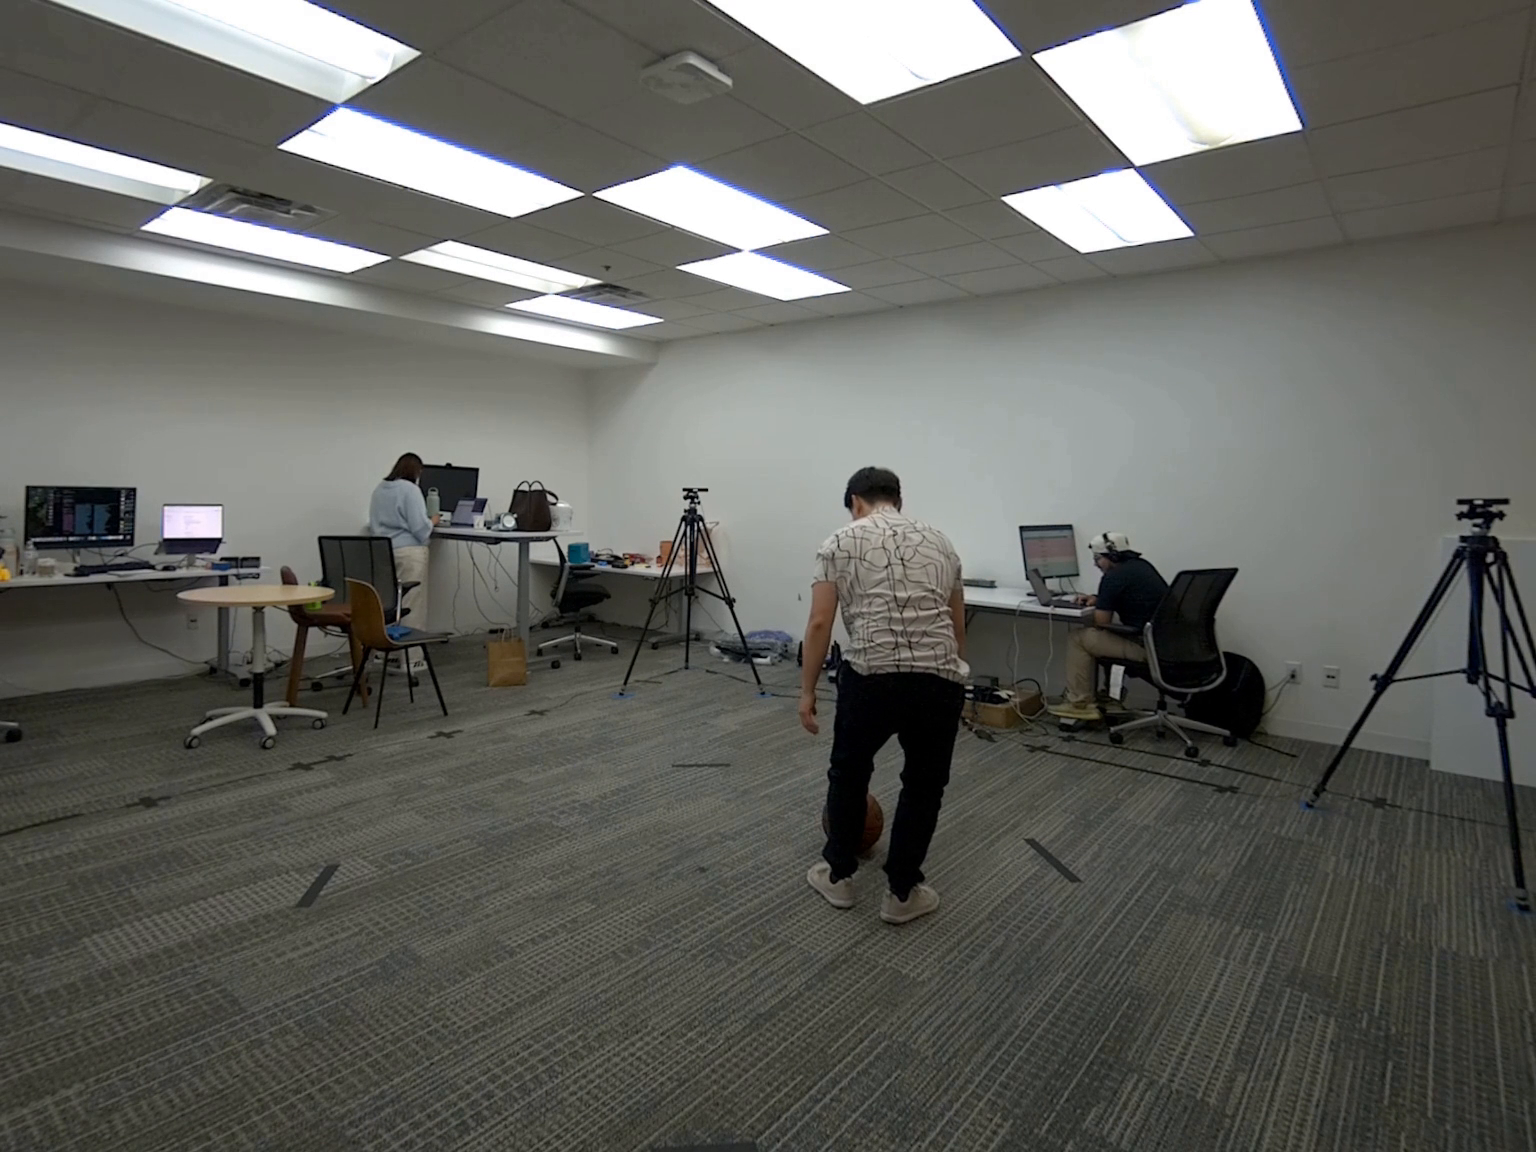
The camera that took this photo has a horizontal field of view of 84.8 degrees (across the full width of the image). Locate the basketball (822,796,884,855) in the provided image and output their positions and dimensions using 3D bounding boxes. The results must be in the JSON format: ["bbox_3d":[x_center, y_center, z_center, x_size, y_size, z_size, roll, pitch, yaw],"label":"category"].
[{"bbox_3d":[0.320,0.941,3.306,0.235,0.235,0.237,1,4,-2],"label":"basketball"}]
